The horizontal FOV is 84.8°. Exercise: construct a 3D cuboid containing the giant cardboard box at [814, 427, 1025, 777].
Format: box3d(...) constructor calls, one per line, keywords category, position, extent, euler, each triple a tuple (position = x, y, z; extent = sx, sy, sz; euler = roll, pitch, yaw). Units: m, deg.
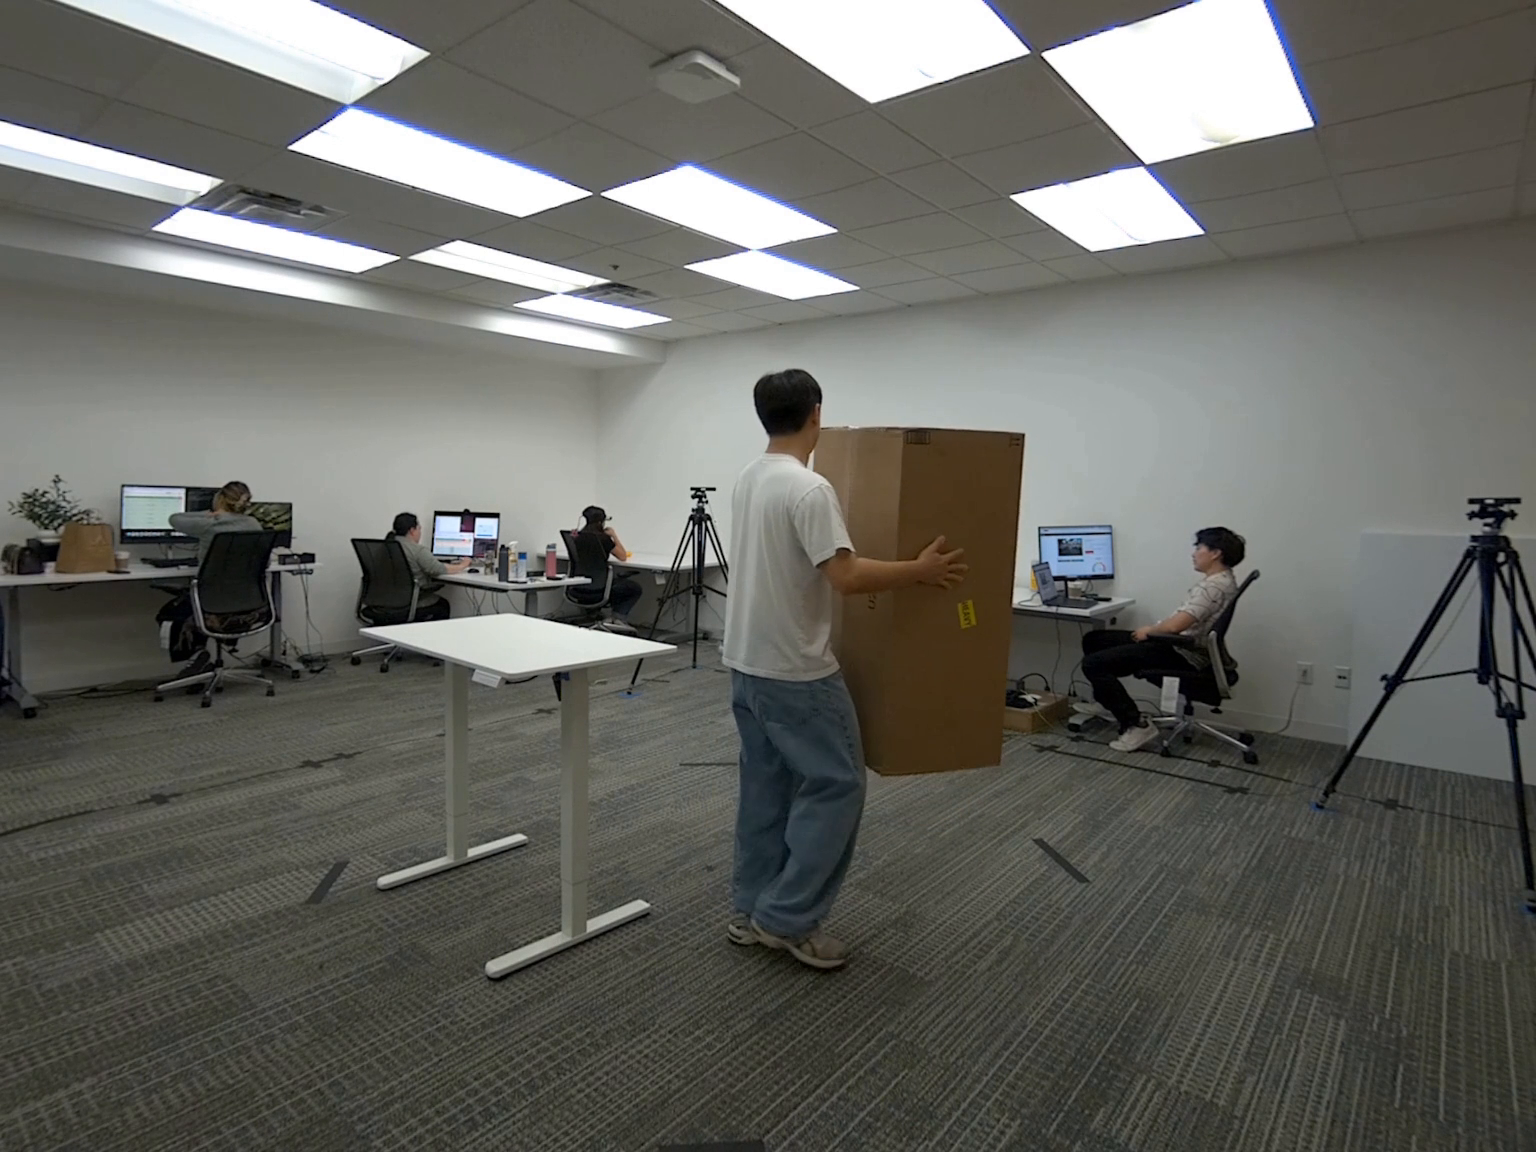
box3d(category="giant cardboard box", position=(0.440, 0.038, 2.771), extent=(0.417, 1.020, 0.593), euler=(0, 7, -21))
